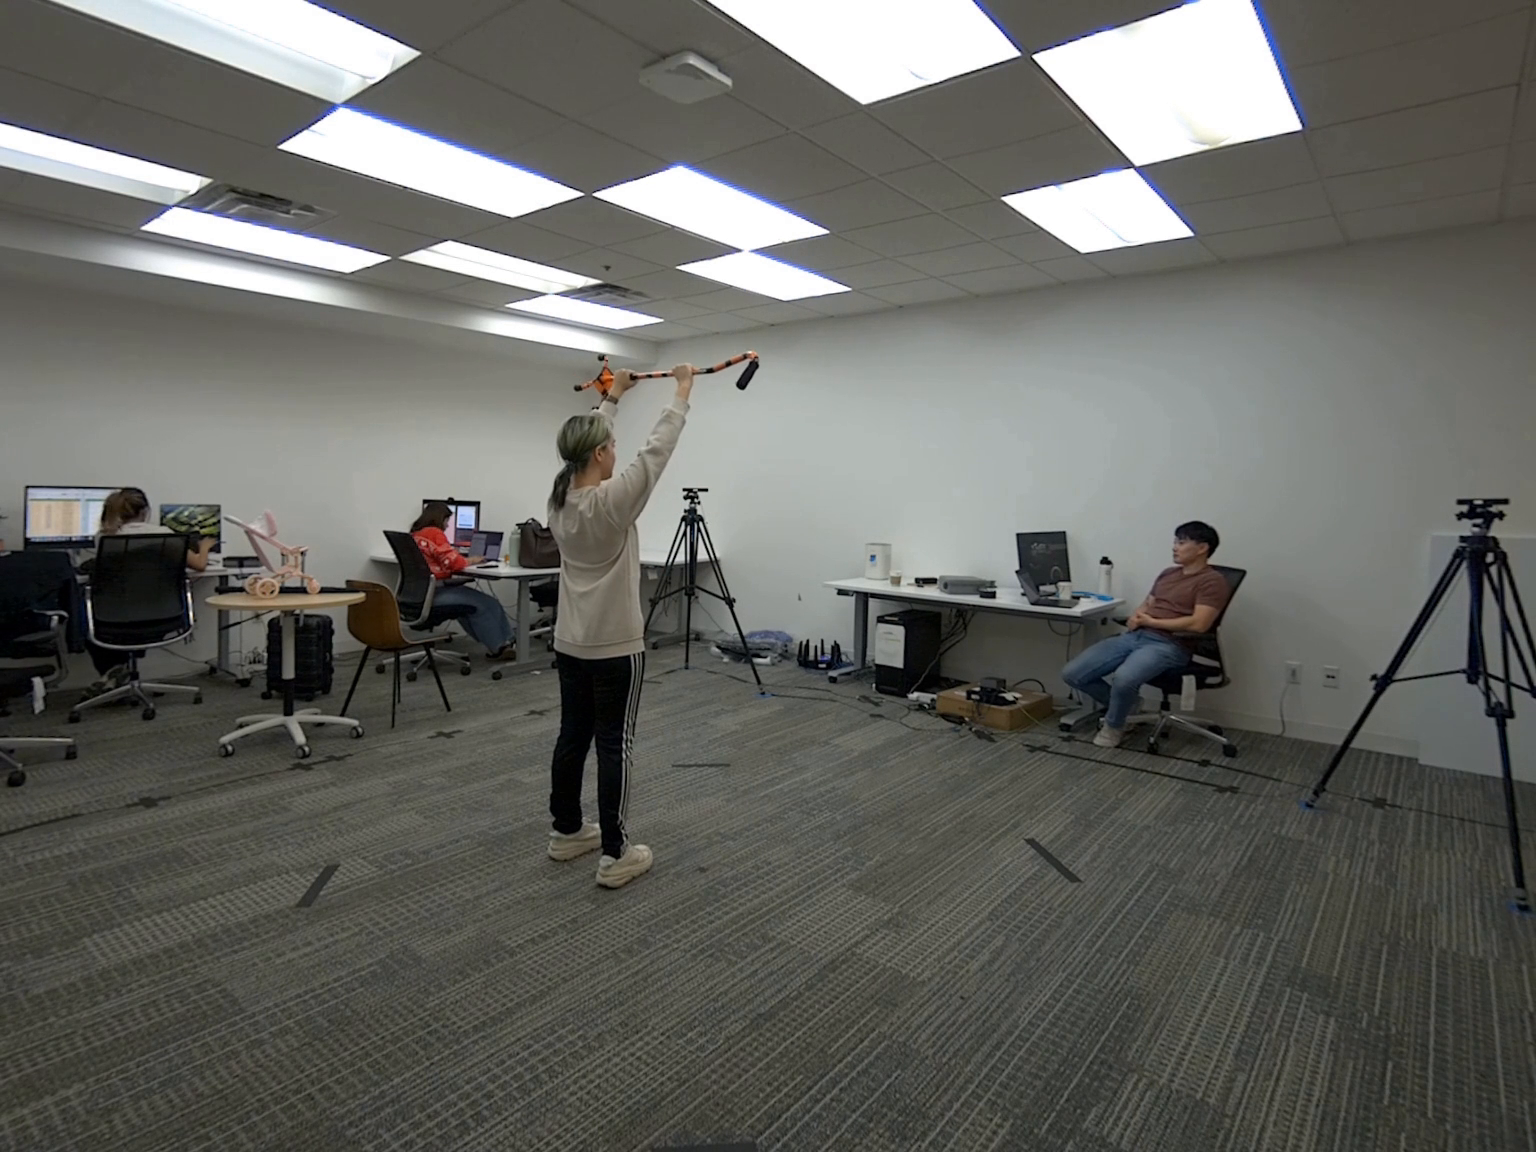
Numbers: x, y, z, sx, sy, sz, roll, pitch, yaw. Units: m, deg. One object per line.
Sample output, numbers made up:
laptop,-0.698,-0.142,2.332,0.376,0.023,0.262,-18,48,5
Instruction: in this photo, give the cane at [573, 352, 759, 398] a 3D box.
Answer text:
cane,-0.376,-0.750,3.188,0.940,0.207,0.145,9,-30,44
